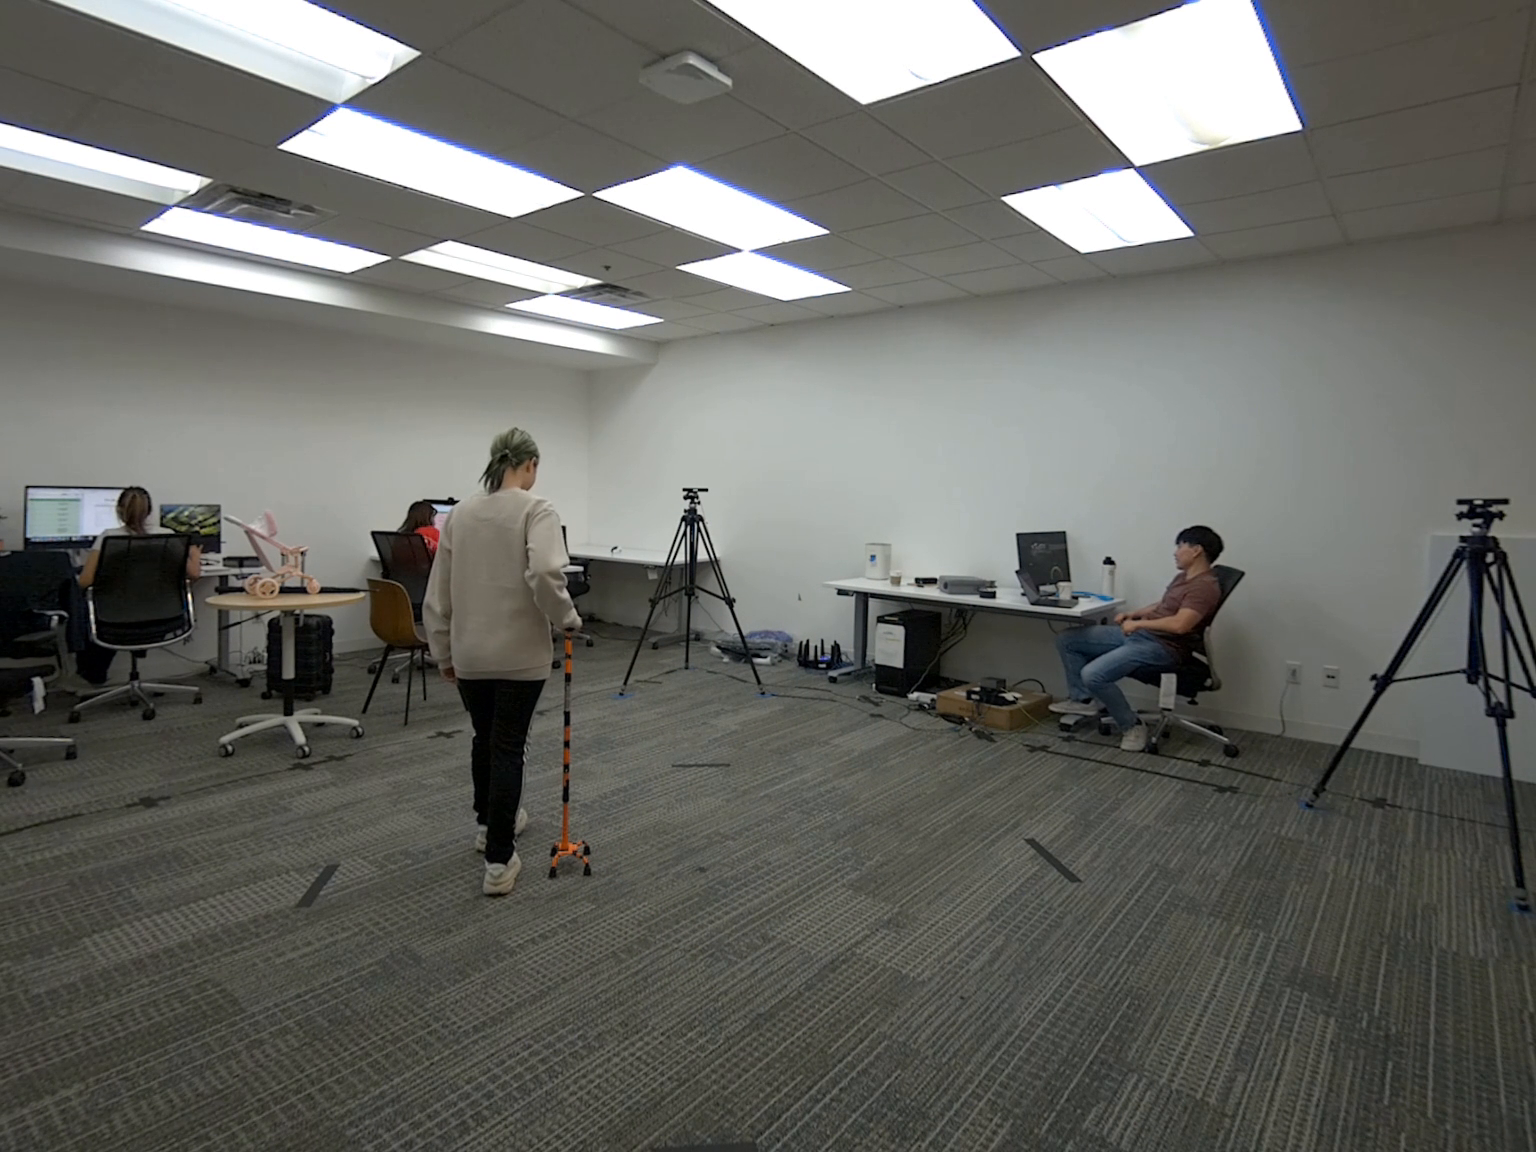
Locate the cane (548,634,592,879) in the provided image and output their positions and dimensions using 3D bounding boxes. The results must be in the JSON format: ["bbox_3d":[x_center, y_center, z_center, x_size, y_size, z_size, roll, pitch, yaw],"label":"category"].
[{"bbox_3d":[-0.720,0.610,3.114,0.149,0.907,0.209,3,1,-14],"label":"cane"}]
